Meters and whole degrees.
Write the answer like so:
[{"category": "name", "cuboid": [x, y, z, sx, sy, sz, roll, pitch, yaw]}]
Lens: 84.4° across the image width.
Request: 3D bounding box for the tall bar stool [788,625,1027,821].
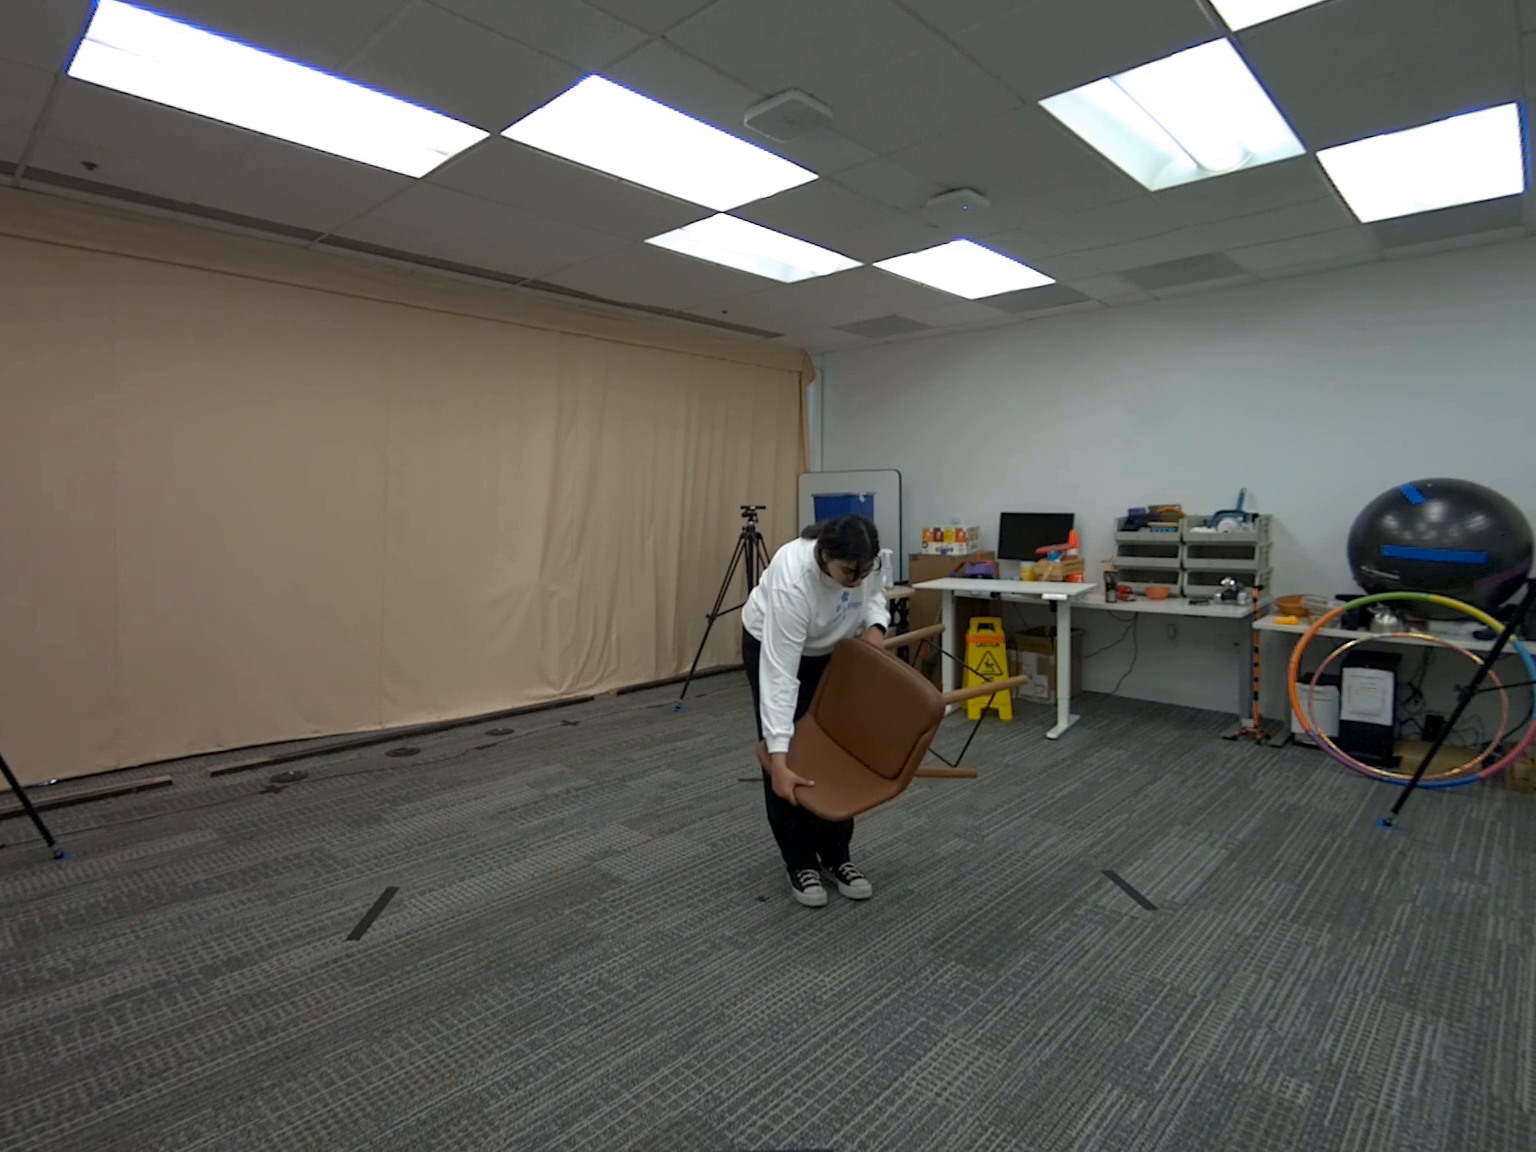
[{"category": "tall bar stool", "cuboid": [0.449, 0.482, 2.928, 0.861, 0.465, 0.473, -1, 27, -45]}]
